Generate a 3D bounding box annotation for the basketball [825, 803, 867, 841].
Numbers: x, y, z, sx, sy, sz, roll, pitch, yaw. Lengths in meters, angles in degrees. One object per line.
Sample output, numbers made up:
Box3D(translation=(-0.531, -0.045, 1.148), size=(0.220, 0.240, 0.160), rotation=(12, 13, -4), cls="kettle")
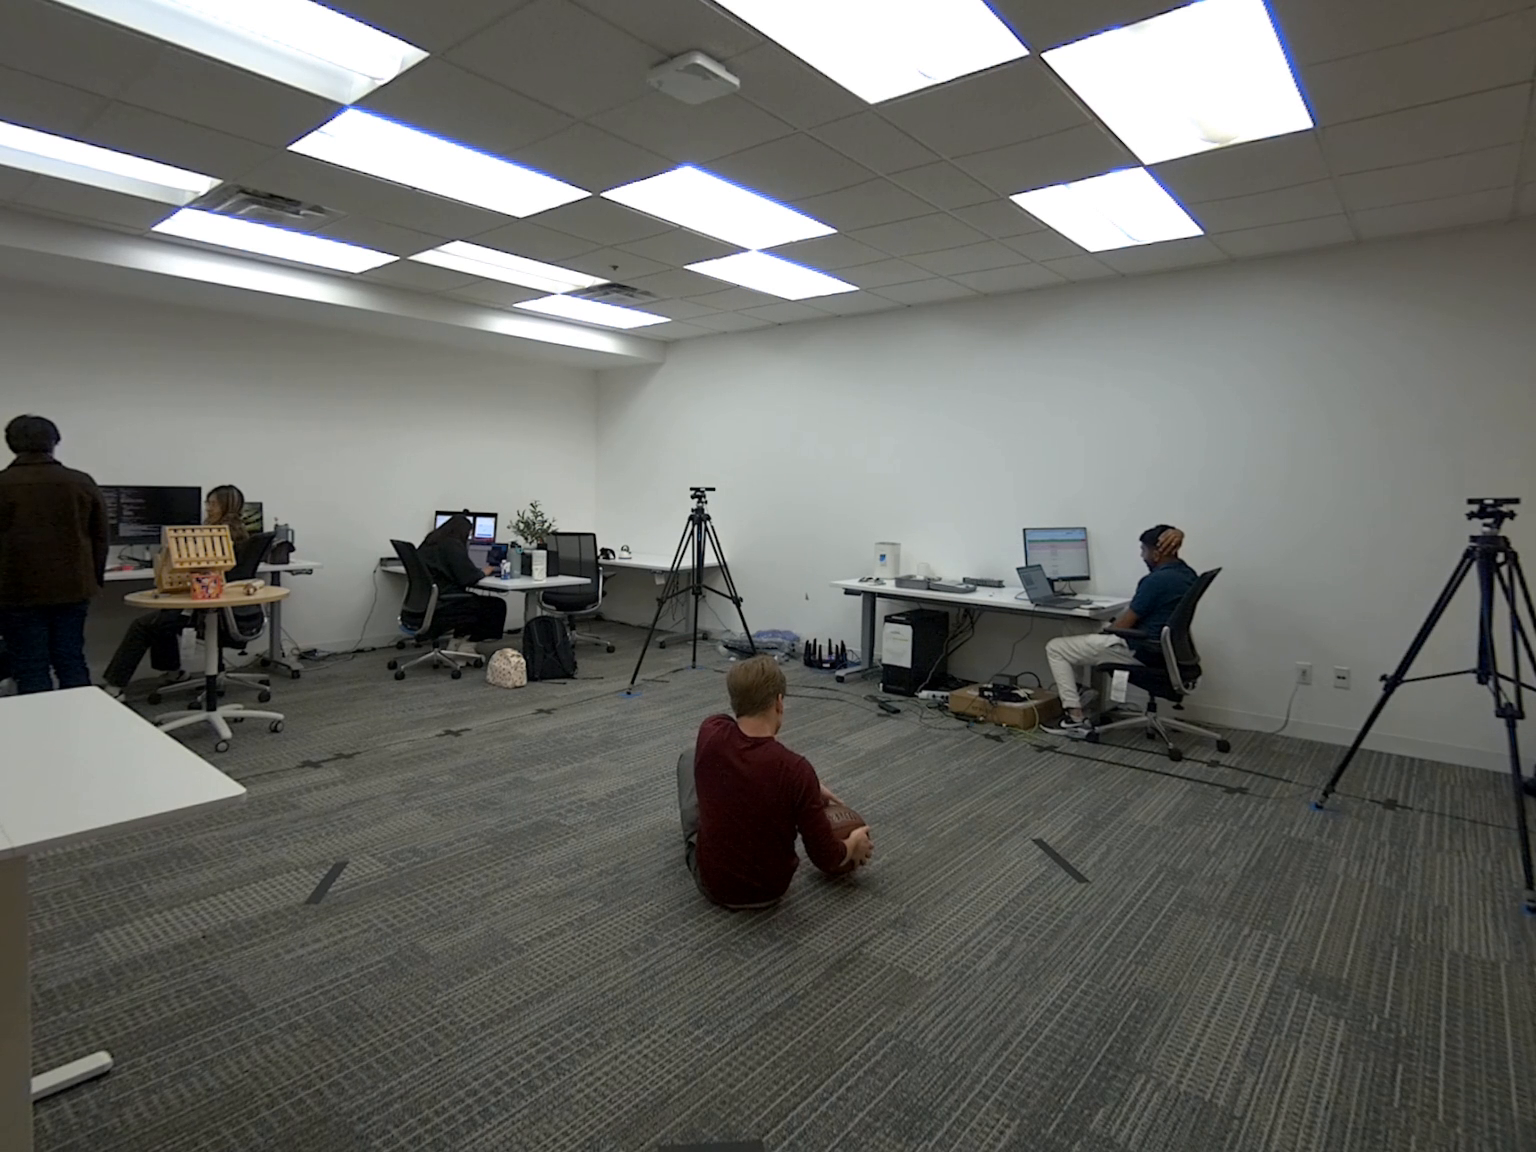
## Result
Box3D(translation=(0.241, 0.944, 3.069), size=(0.235, 0.235, 0.237), rotation=(1, 4, -2), cls="basketball")
